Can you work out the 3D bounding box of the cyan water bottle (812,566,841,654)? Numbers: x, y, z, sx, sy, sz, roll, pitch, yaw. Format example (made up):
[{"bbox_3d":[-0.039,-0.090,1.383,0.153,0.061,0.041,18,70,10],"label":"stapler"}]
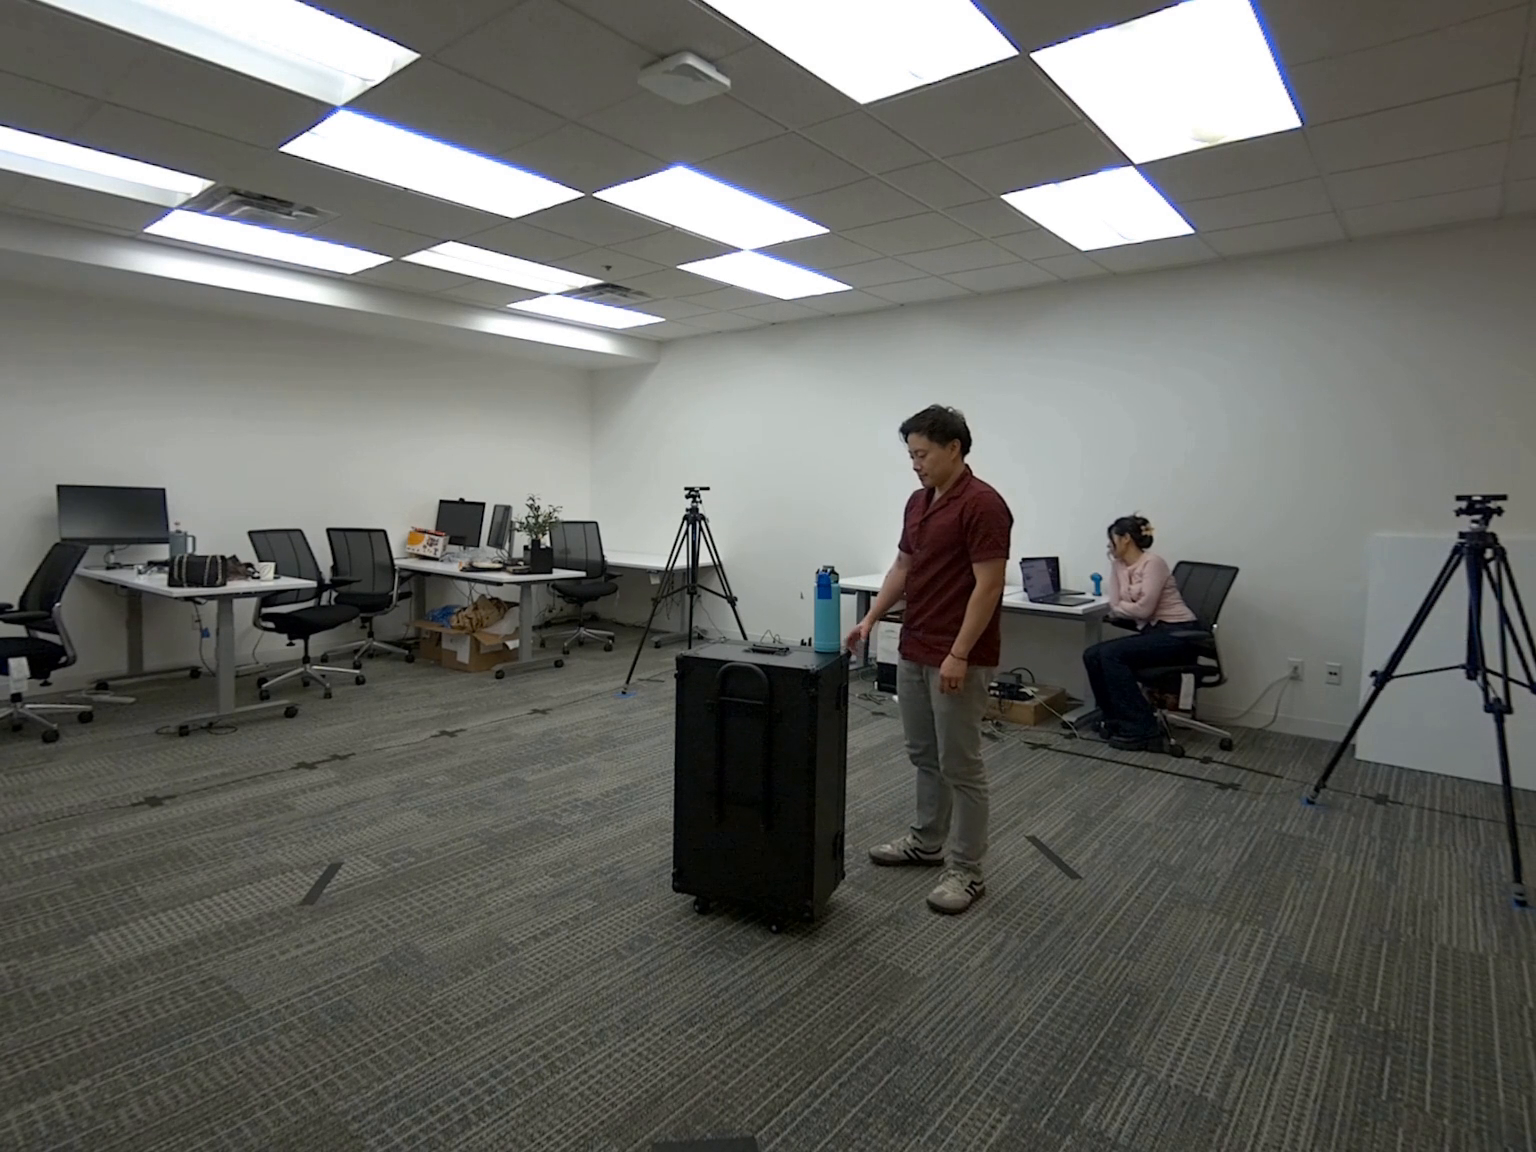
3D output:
[{"bbox_3d":[0.197,0.104,2.846,0.092,0.283,0.093,-2,3,-2],"label":"cyan water bottle"}]
